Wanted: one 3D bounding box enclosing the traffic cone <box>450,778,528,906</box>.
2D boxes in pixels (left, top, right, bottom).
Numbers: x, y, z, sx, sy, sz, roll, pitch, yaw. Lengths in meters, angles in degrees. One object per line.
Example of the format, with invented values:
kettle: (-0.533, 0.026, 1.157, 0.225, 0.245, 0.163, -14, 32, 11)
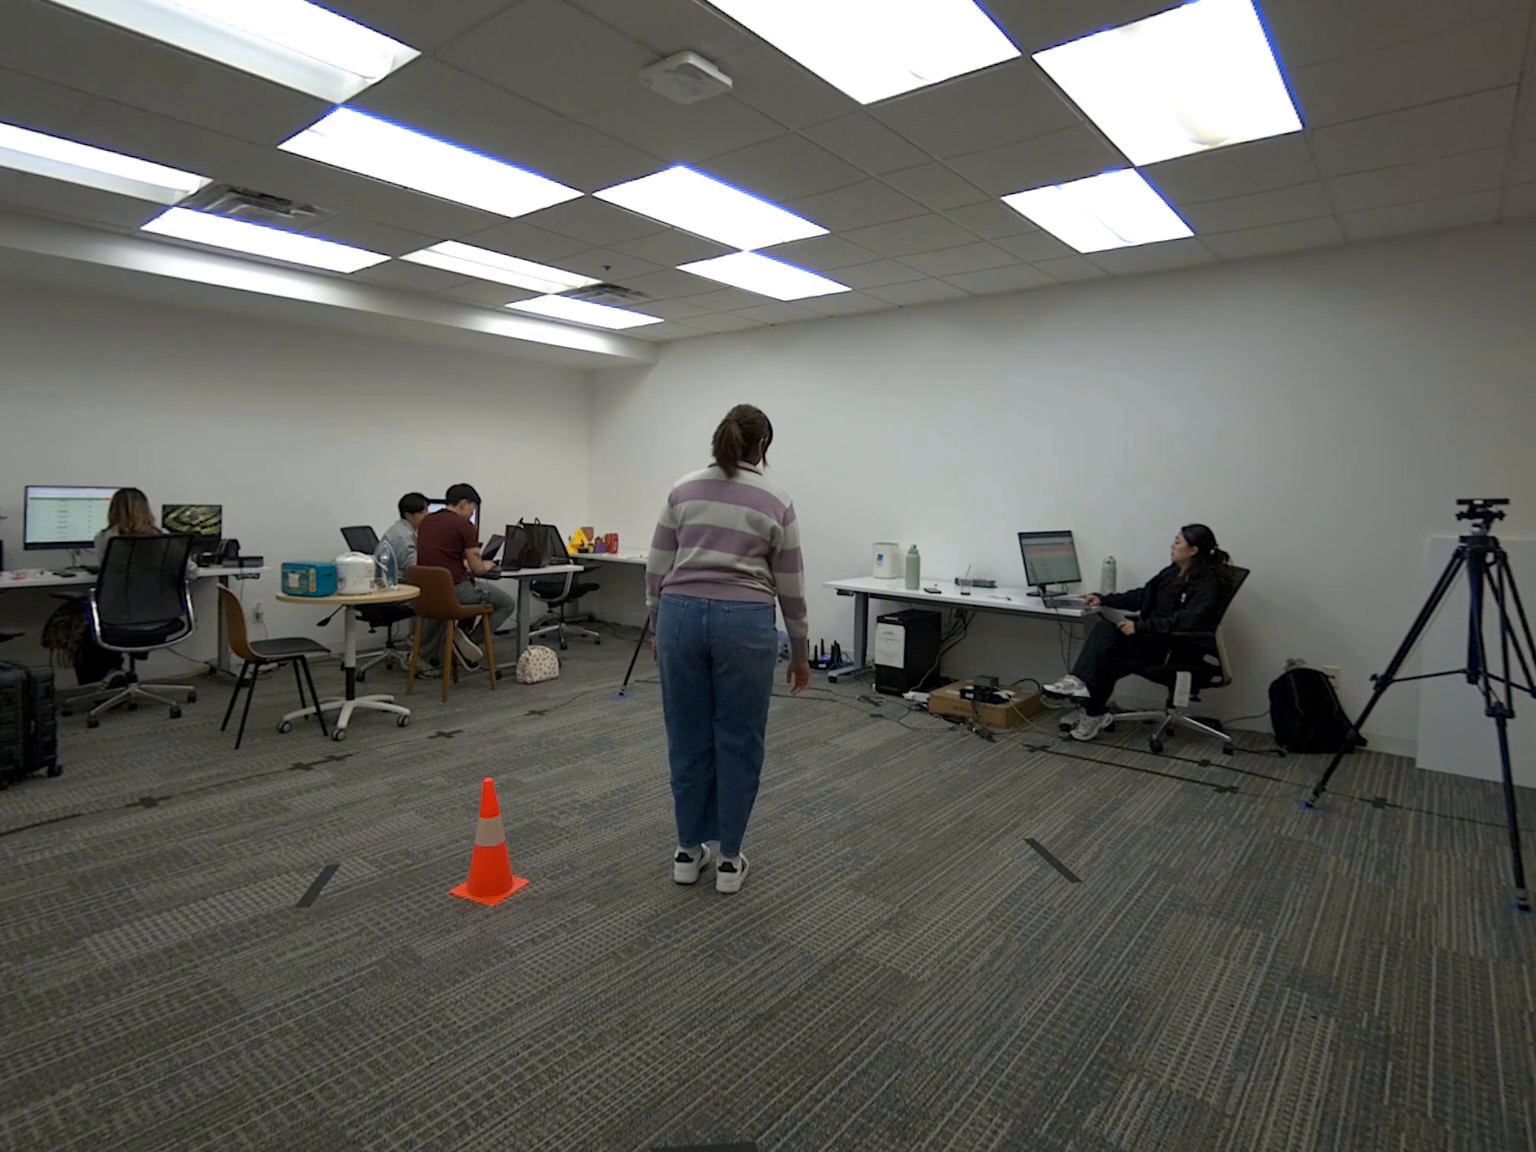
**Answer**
traffic cone: (-0.970, 0.894, 2.926, 0.211, 0.382, 0.199, 4, 6, 26)
